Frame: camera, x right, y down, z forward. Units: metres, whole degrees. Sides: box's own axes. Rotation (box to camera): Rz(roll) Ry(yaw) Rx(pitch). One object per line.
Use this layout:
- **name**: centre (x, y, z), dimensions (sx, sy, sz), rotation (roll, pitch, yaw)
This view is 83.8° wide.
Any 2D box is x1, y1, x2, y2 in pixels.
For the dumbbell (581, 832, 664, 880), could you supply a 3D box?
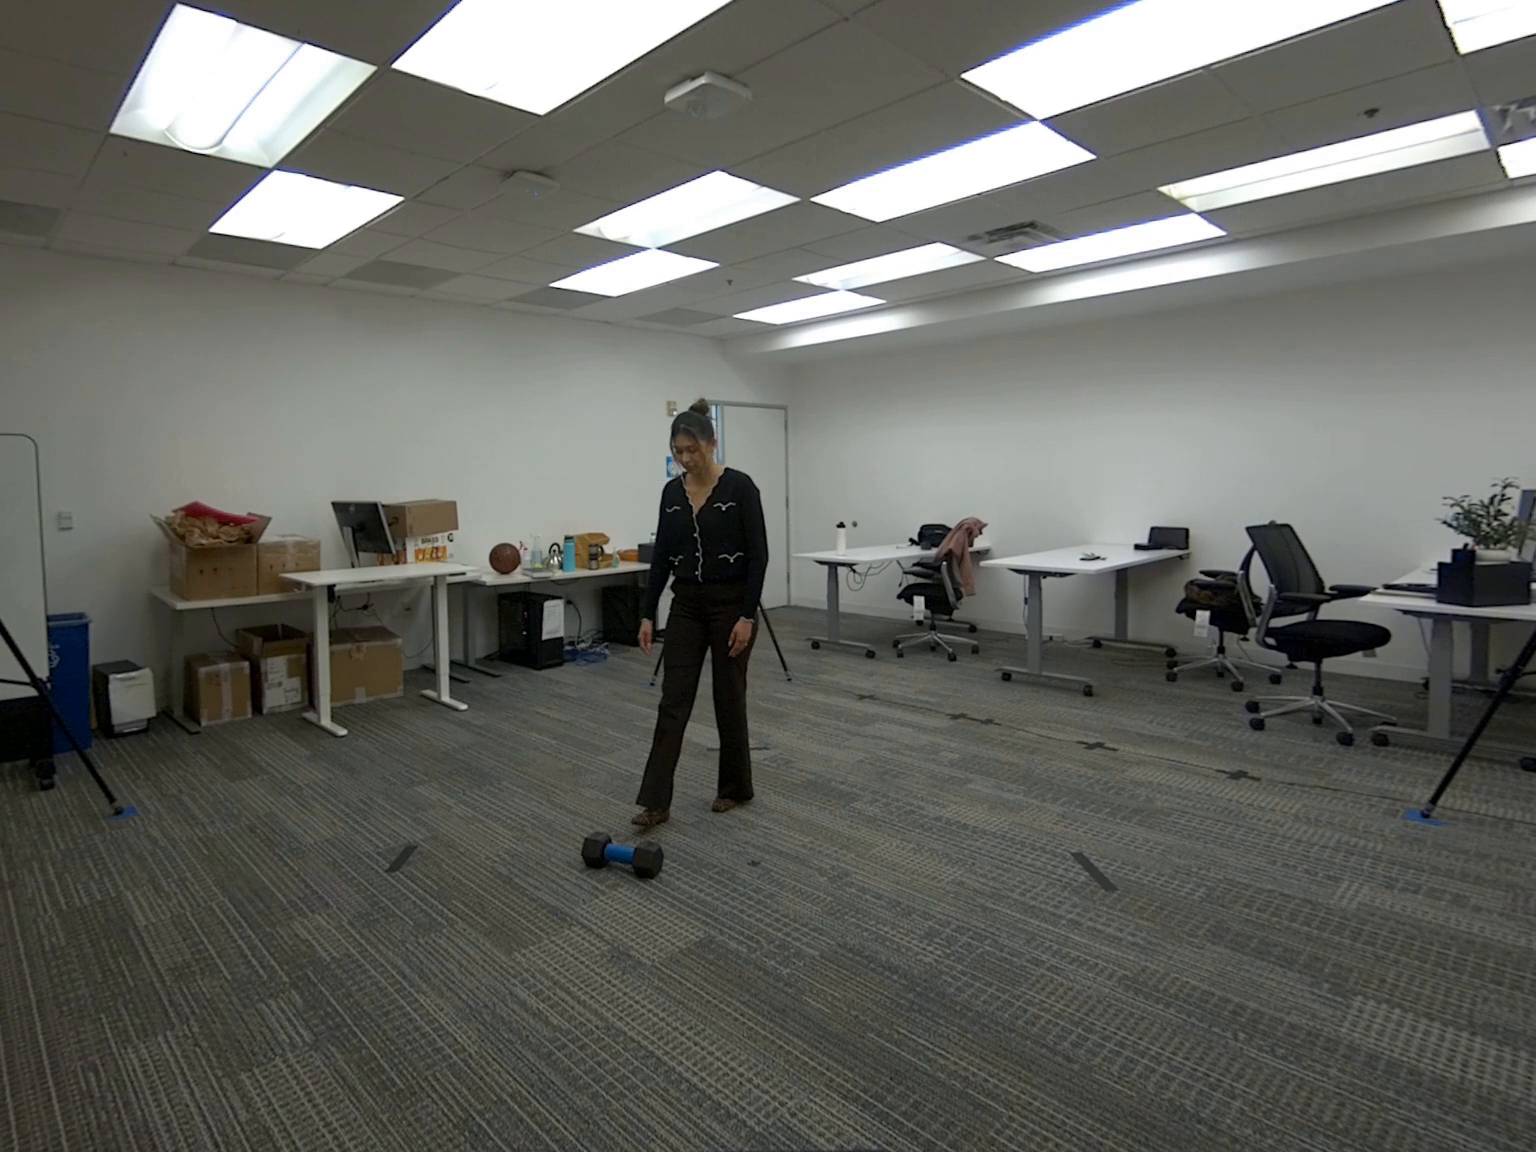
- **dumbbell**: centre (-0.523, 1.002, 3.072), dimensions (0.300, 0.108, 0.120), rotation (3, 4, 24)
